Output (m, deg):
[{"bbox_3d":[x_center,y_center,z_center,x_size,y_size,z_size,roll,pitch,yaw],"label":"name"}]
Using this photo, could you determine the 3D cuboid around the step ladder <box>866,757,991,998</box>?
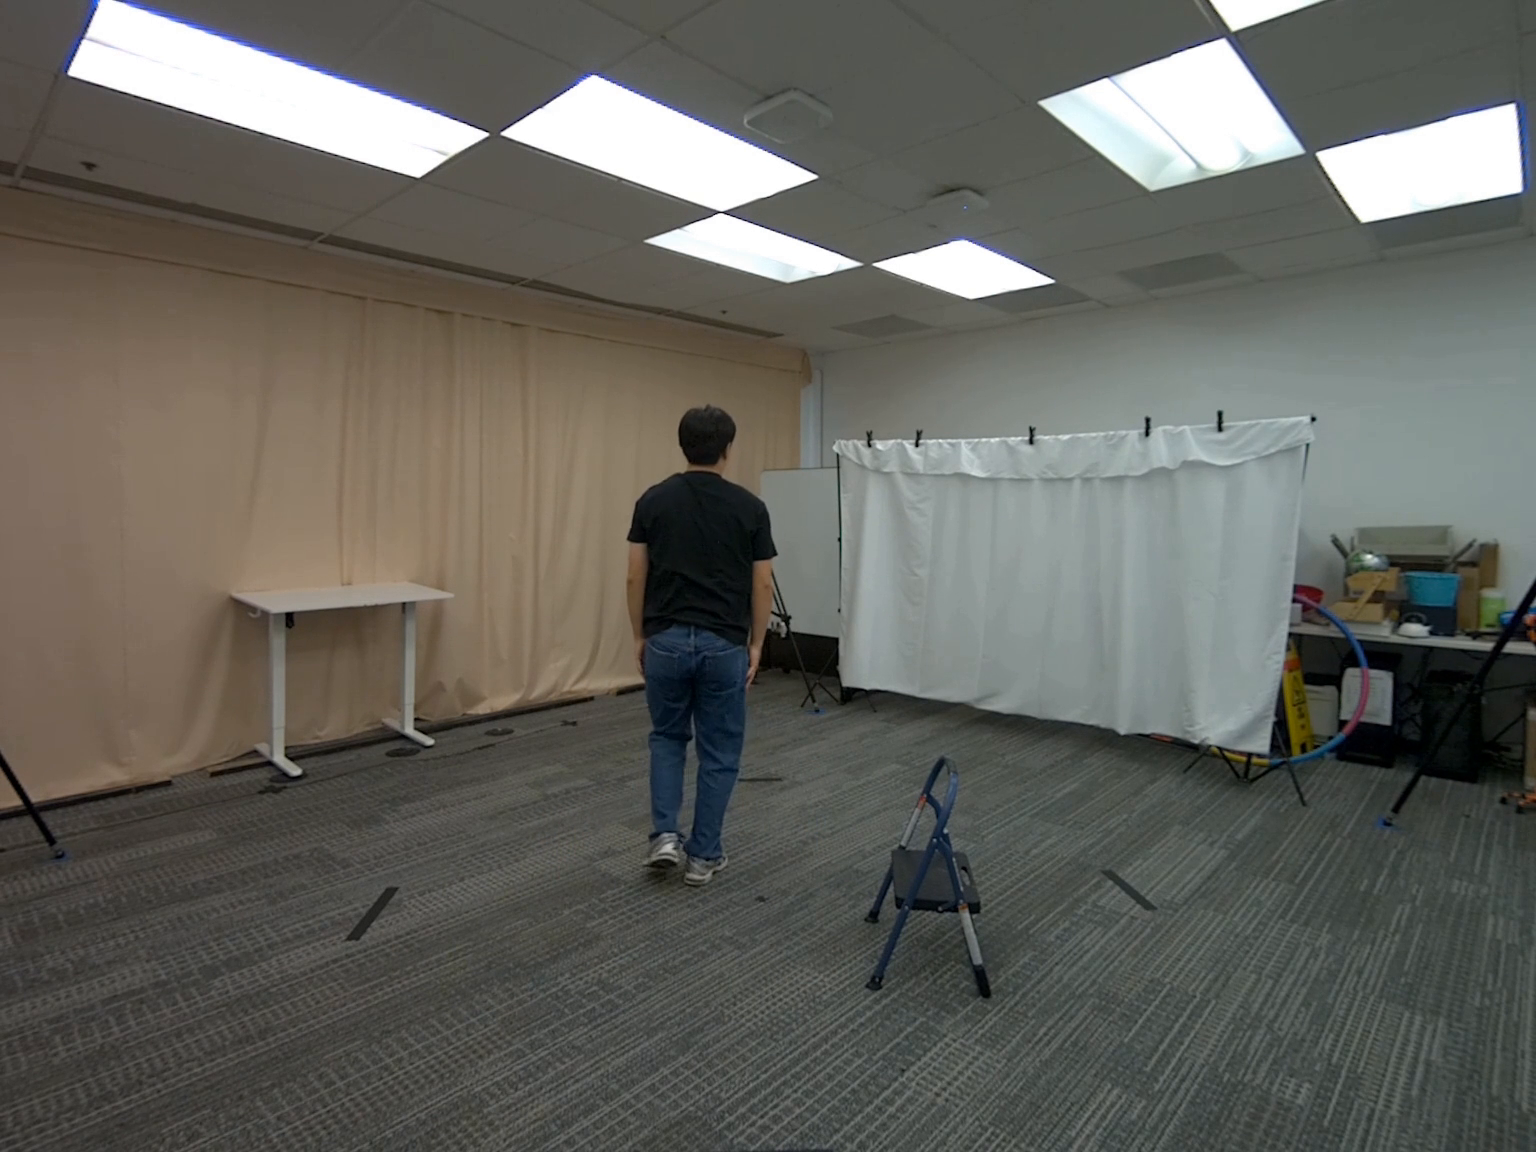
[{"bbox_3d":[0.487,0.875,2.587,0.352,0.604,0.428,0,4,7],"label":"step ladder"}]
